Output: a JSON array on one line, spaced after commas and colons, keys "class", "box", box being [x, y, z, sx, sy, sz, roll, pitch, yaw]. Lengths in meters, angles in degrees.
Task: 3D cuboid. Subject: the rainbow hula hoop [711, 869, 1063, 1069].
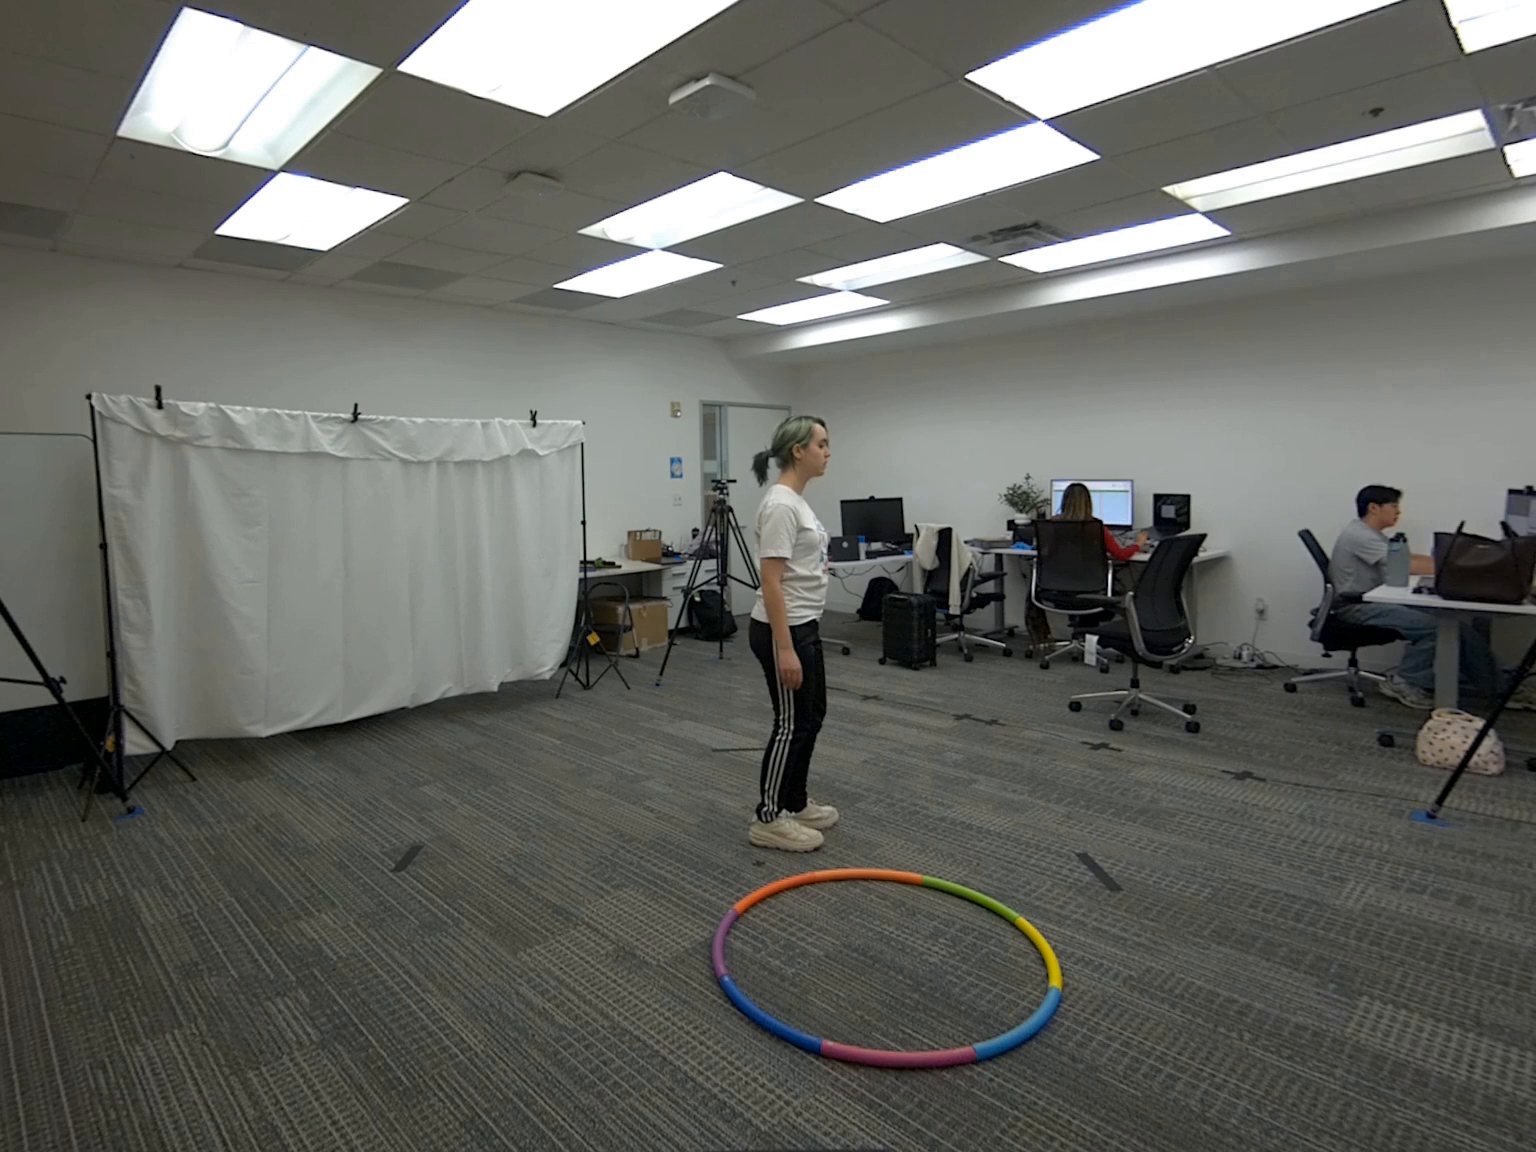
[{"class": "rainbow hula hoop", "box": [0.331, 1.086, 2.499, 0.985, 0.051, 0.990, -2, 6, -2]}]
